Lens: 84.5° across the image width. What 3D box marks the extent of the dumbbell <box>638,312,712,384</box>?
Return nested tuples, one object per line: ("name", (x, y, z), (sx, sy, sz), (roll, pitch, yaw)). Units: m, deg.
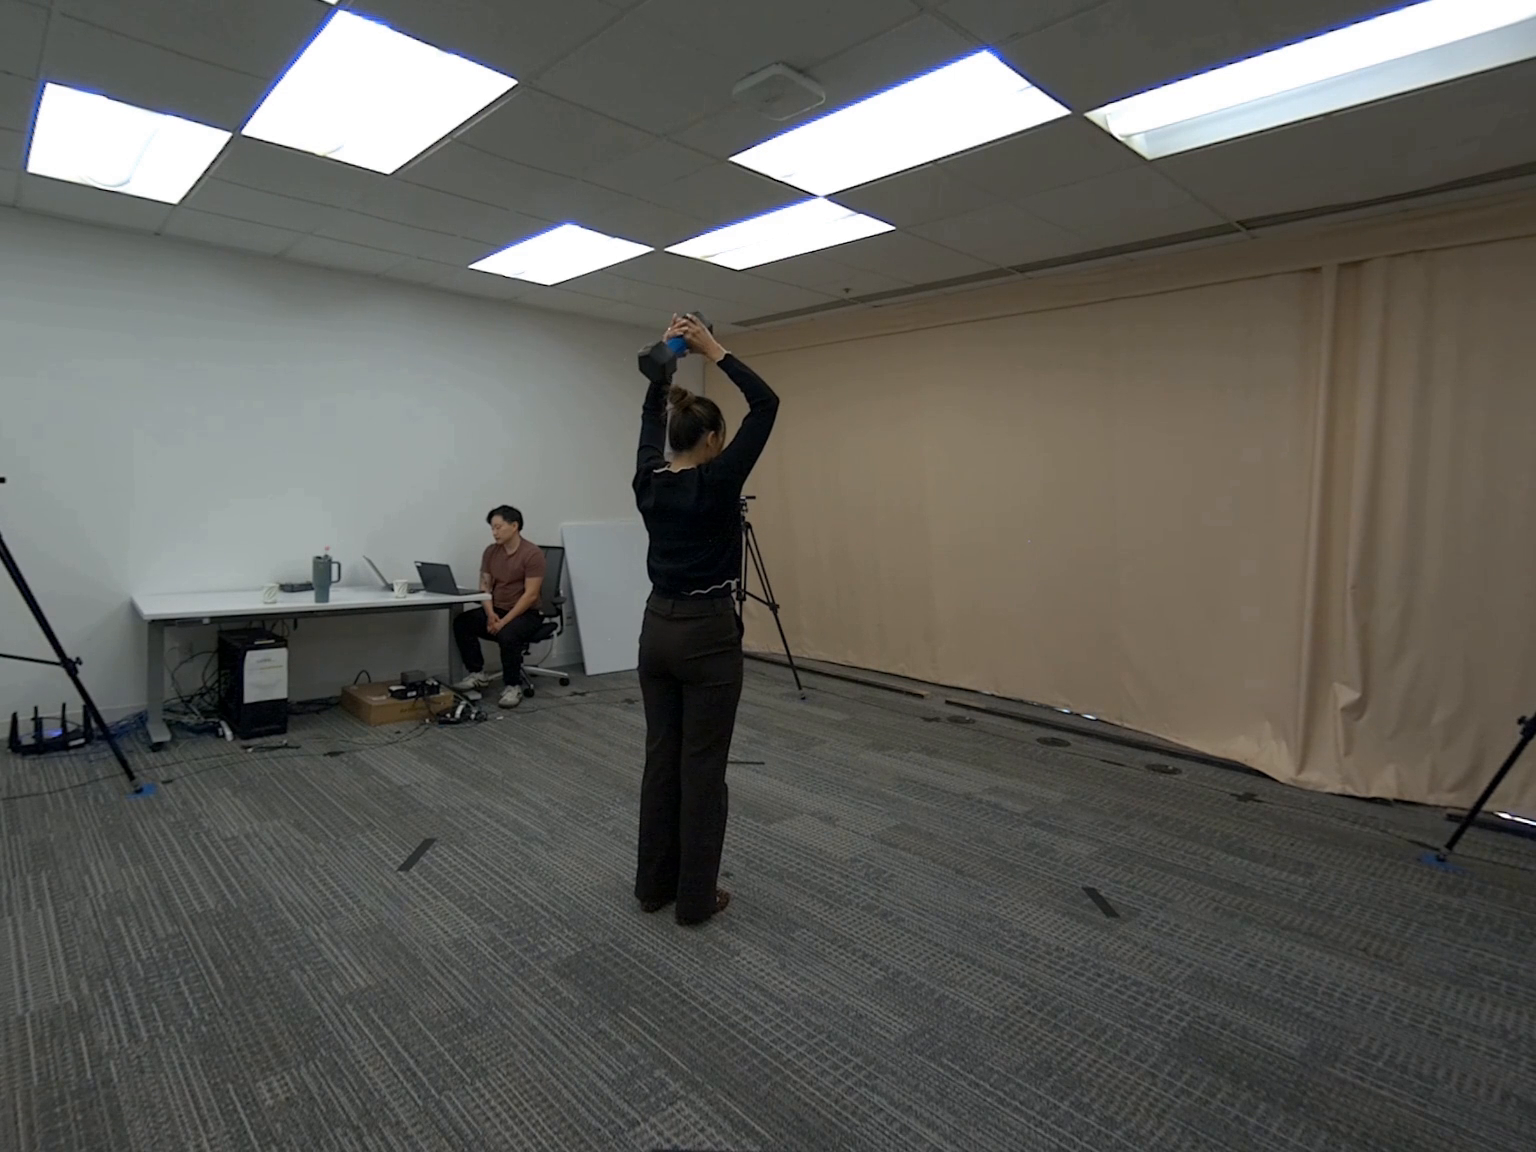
("dumbbell", (-0.306, -0.741, 2.692), (0.111, 0.120, 0.294), (23, 50, 19))
